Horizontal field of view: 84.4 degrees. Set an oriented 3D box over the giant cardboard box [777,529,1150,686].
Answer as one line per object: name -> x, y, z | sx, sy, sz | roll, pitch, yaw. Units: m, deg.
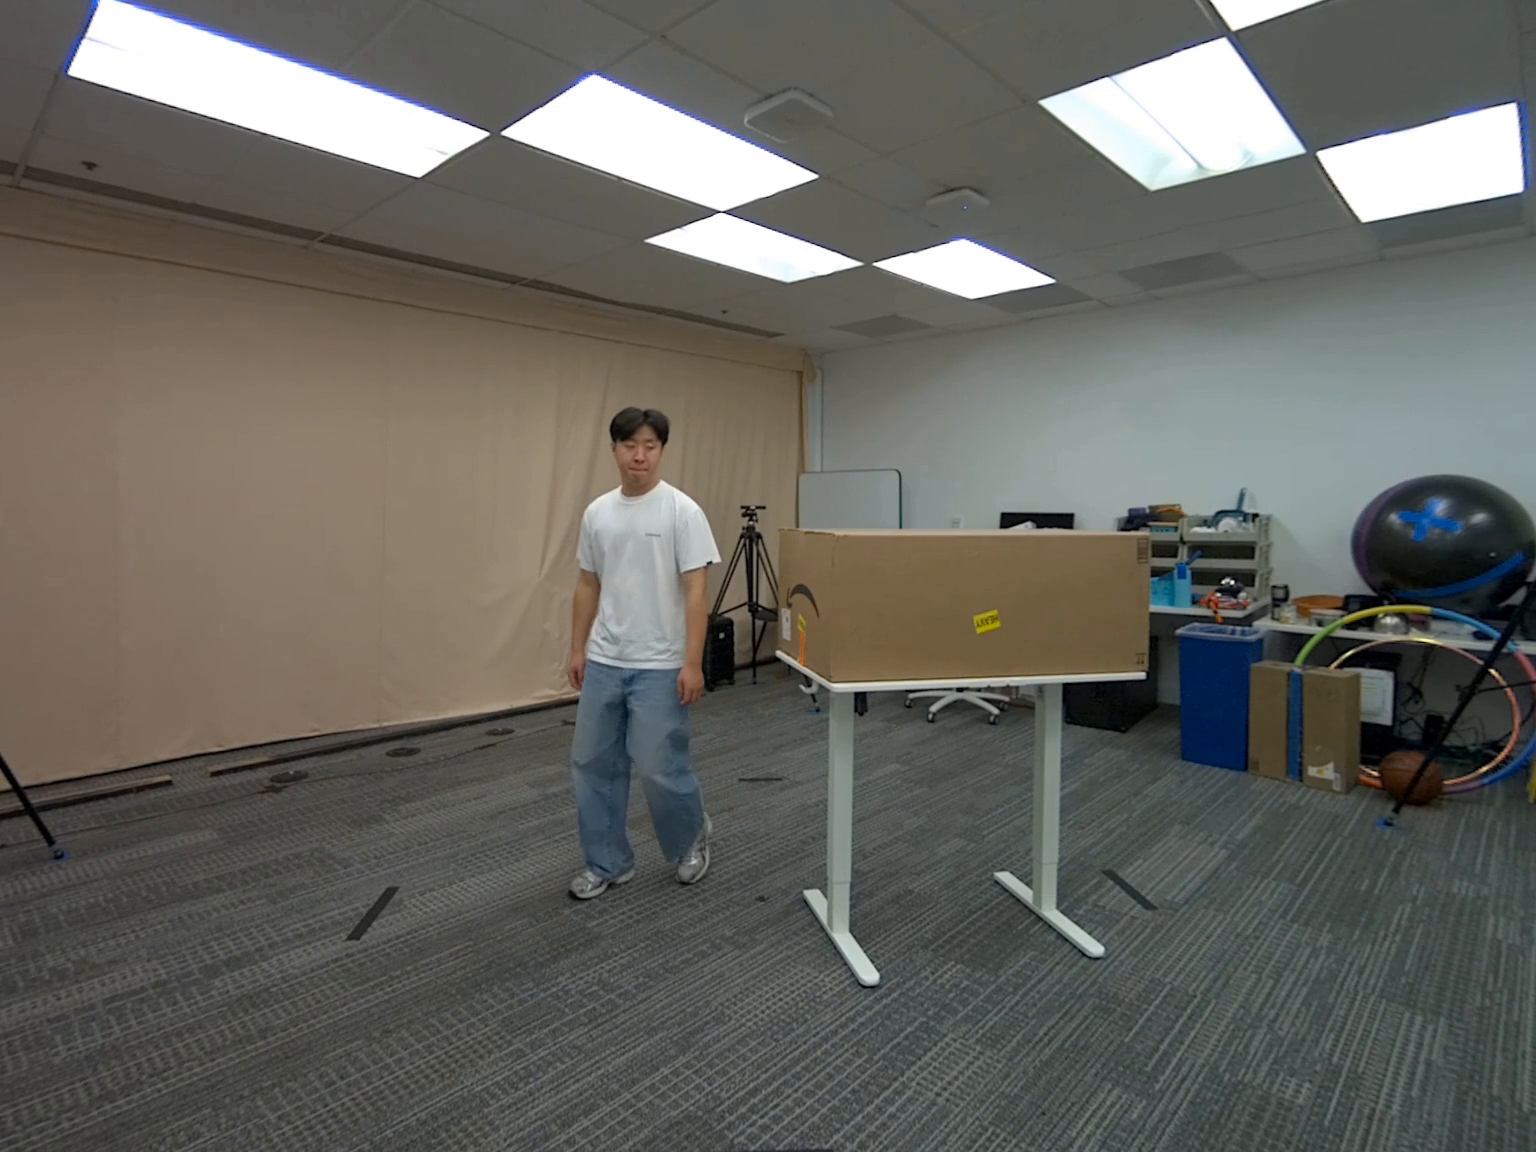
giant cardboard box -> 0.606, 0.067, 2.753 | 1.013, 0.425, 0.586 | 0, 3, -12
